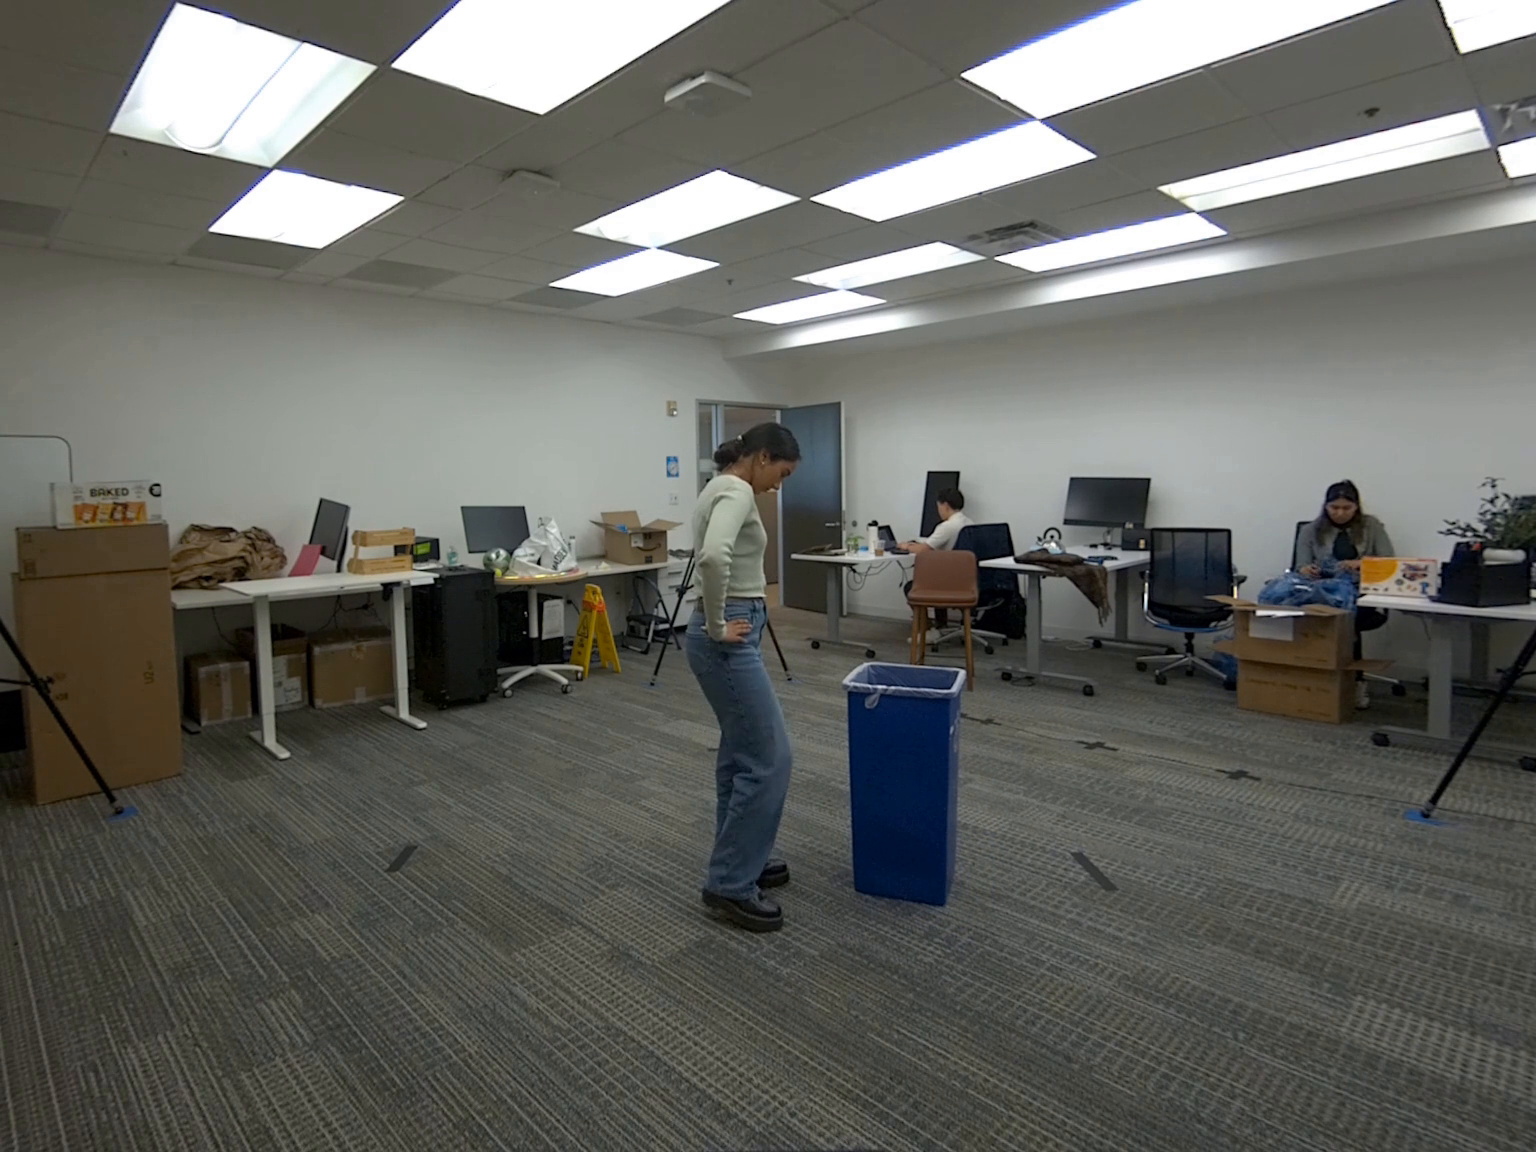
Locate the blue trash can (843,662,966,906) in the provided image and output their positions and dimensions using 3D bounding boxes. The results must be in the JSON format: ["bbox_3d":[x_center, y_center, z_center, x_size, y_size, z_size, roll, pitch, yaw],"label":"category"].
[{"bbox_3d":[0.480,0.692,2.938,0.382,0.711,0.372,0,4,22],"label":"blue trash can"}]
